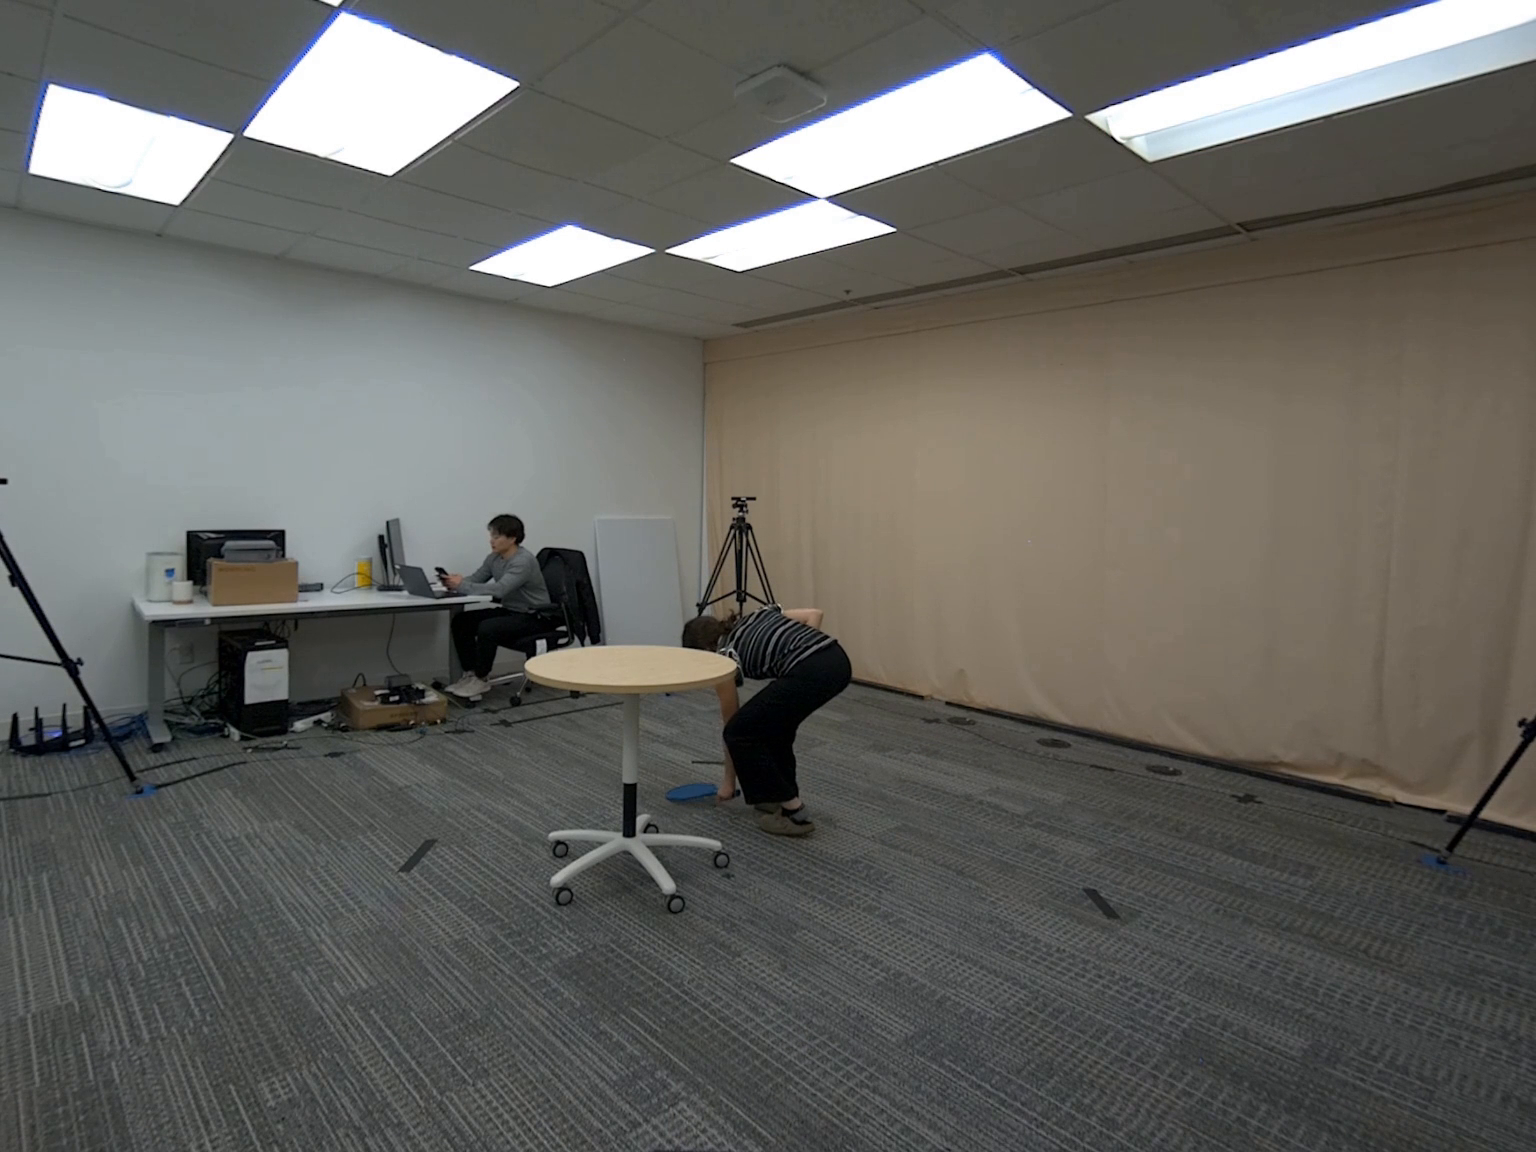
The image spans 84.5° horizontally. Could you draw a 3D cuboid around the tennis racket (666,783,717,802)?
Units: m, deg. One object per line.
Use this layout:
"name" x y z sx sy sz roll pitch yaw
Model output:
"tennis racket" -0.300 0.978 3.855 0.441 0.032 0.210 -10 4 40
